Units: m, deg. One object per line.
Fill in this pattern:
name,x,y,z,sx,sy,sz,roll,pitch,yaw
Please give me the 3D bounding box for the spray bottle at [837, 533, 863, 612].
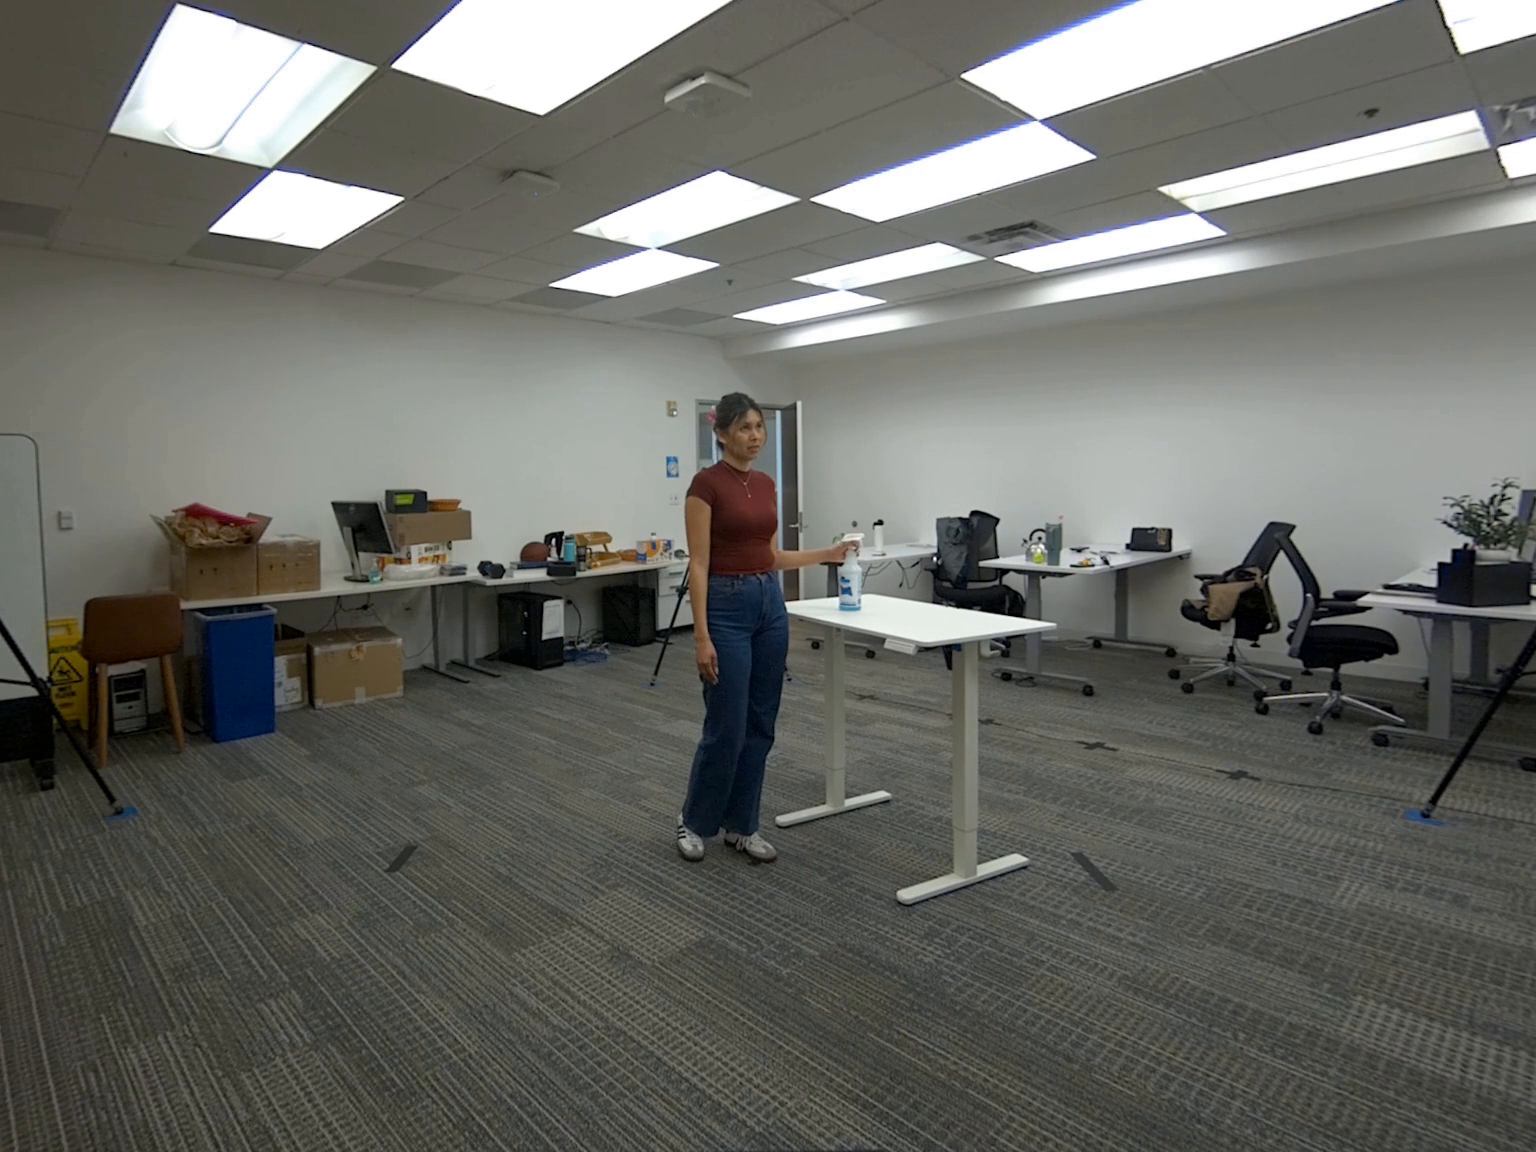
spray bottle,0.319,-0.019,3.323,0.091,0.296,0.086,2,5,9
